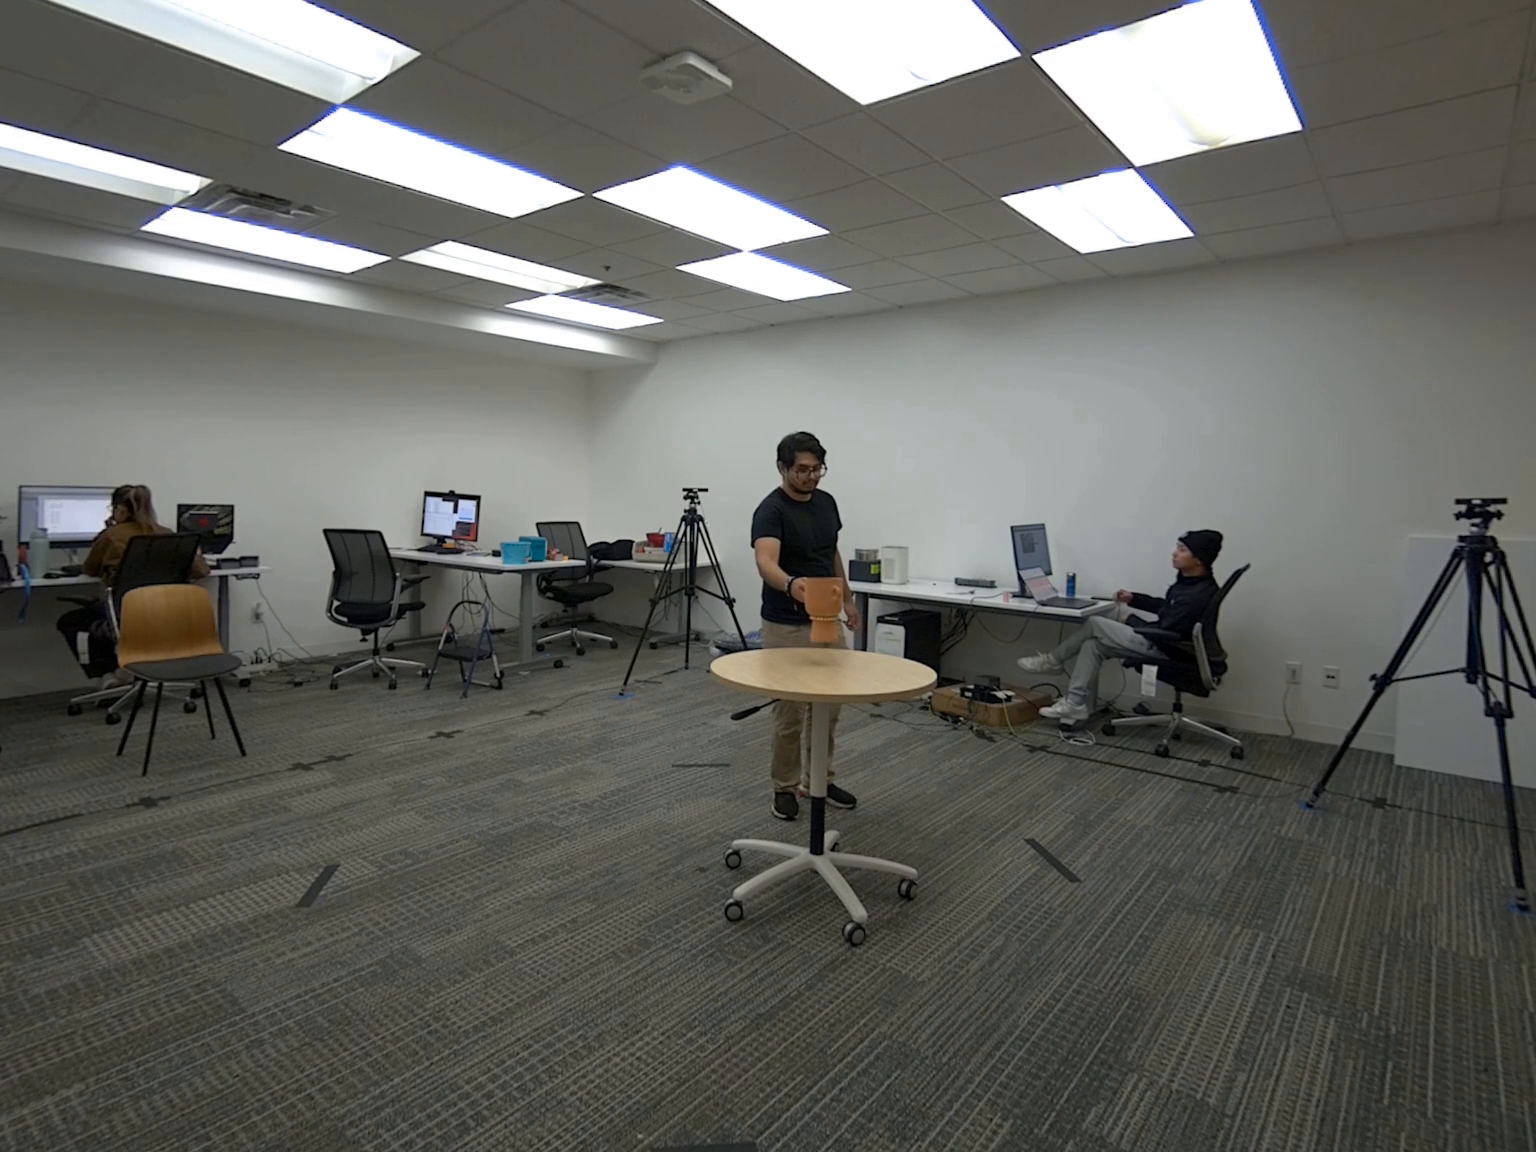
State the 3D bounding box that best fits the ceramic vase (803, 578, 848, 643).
[{"bbox_3d":[0.177,0.111,2.985,0.138,0.220,0.154,-4,1,34],"label":"ceramic vase"}]
